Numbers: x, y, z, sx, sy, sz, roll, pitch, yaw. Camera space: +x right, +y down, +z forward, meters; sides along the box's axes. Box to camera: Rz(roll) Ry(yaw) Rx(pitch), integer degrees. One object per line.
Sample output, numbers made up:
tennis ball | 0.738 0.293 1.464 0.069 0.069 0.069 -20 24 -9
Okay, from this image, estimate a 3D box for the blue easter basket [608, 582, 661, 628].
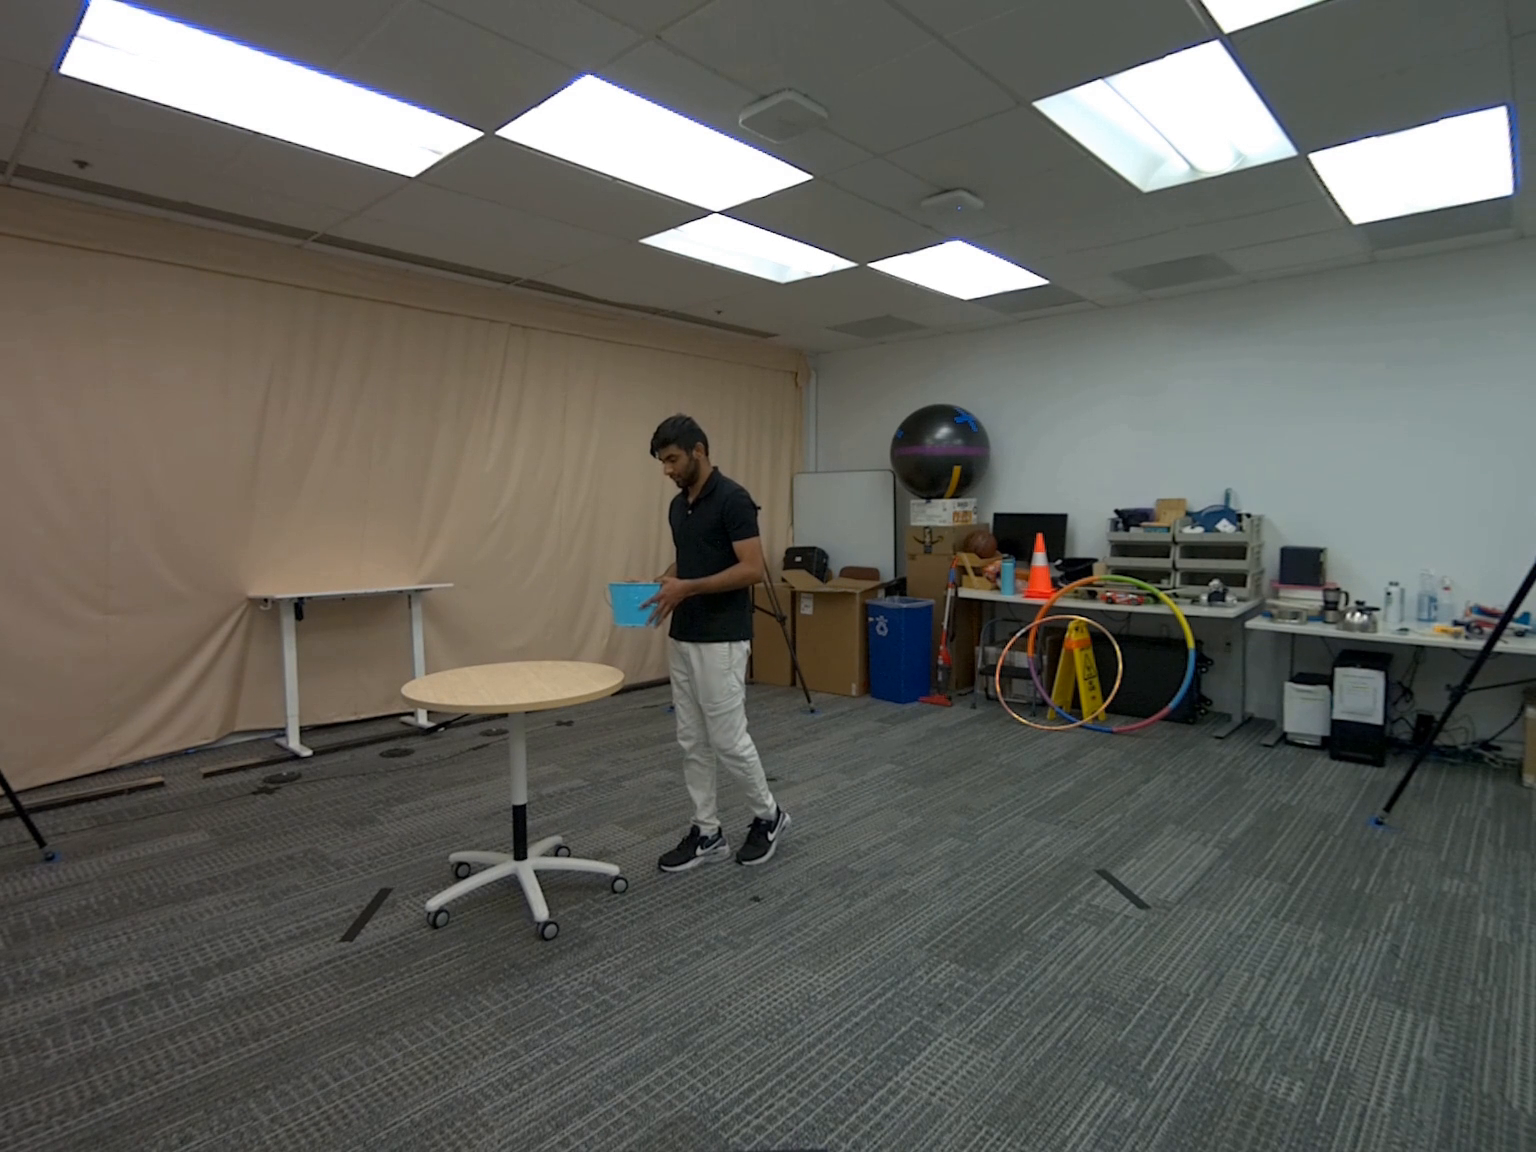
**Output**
blue easter basket | -0.468 0.104 3.122 0.243 0.156 0.244 0 0 -2
